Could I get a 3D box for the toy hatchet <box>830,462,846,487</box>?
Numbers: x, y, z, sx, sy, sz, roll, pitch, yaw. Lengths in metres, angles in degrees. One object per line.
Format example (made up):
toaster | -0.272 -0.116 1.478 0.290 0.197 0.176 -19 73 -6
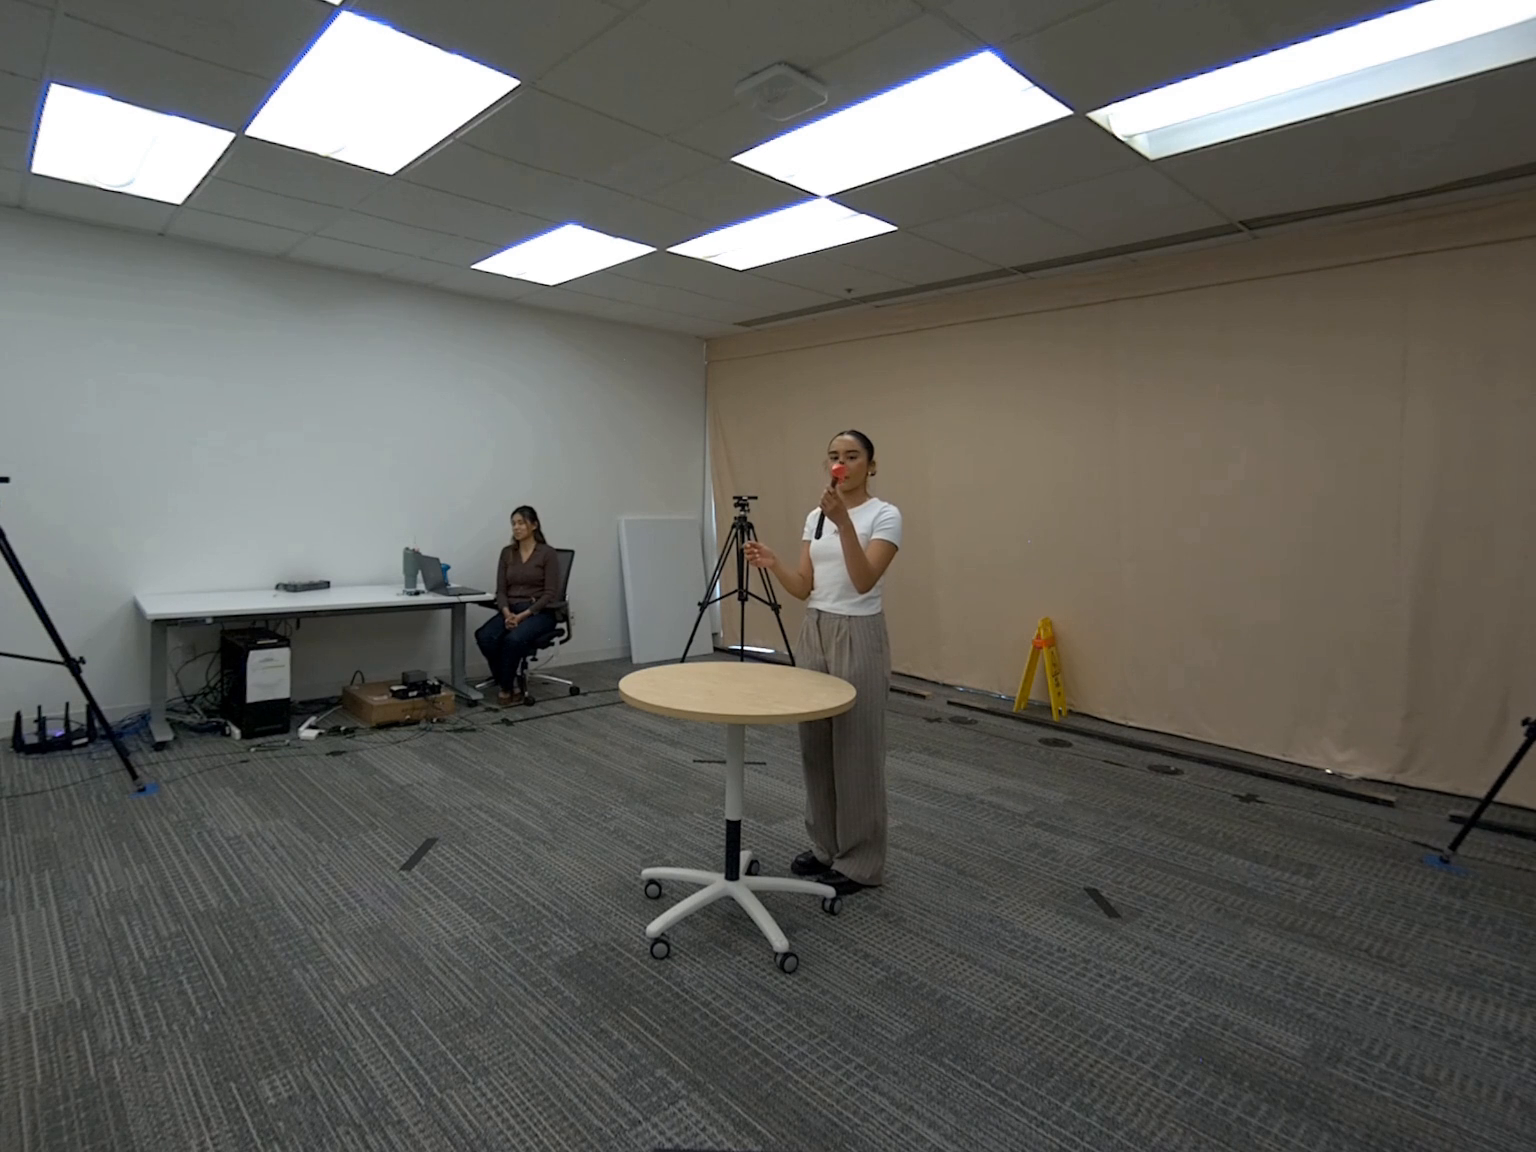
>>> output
toy hatchet | 0.208 -0.254 2.749 0.030 0.266 0.131 21 32 15
